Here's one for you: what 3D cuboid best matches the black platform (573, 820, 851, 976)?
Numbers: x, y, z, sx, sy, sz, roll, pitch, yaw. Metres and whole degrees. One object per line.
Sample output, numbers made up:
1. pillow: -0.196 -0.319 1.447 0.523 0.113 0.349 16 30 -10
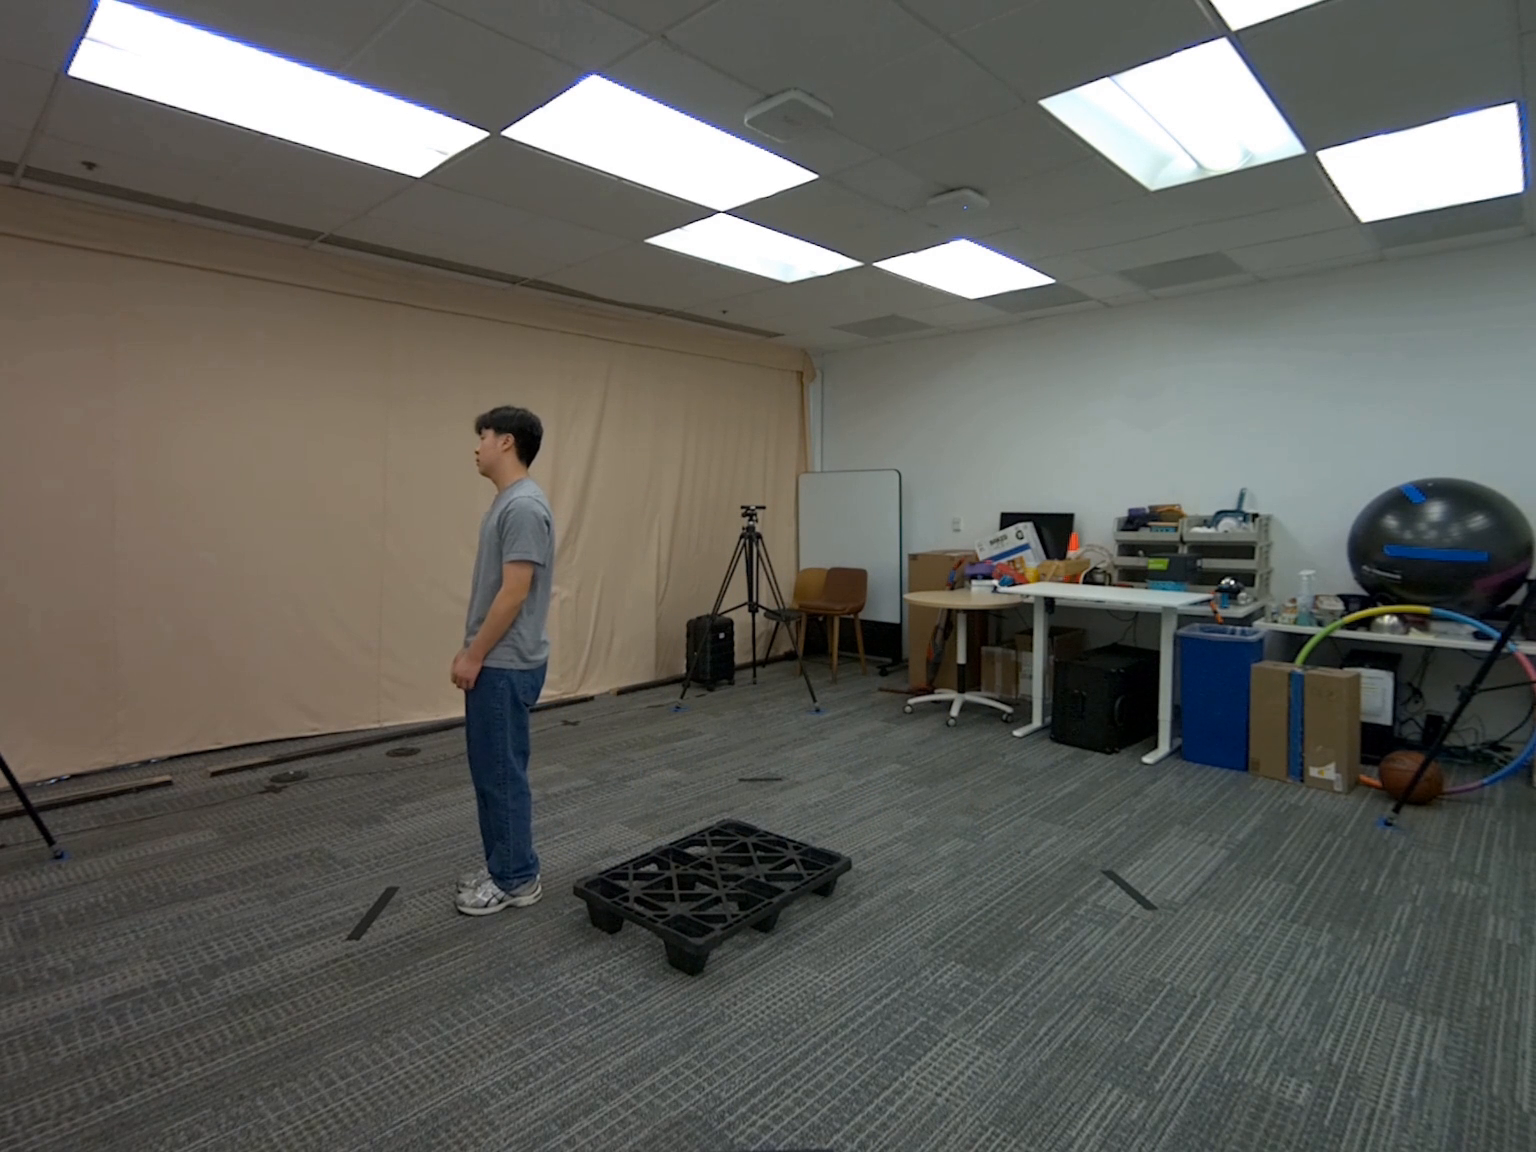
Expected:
1. black platform: -0.182 1.083 2.909 0.625 0.143 0.781 3 6 40
